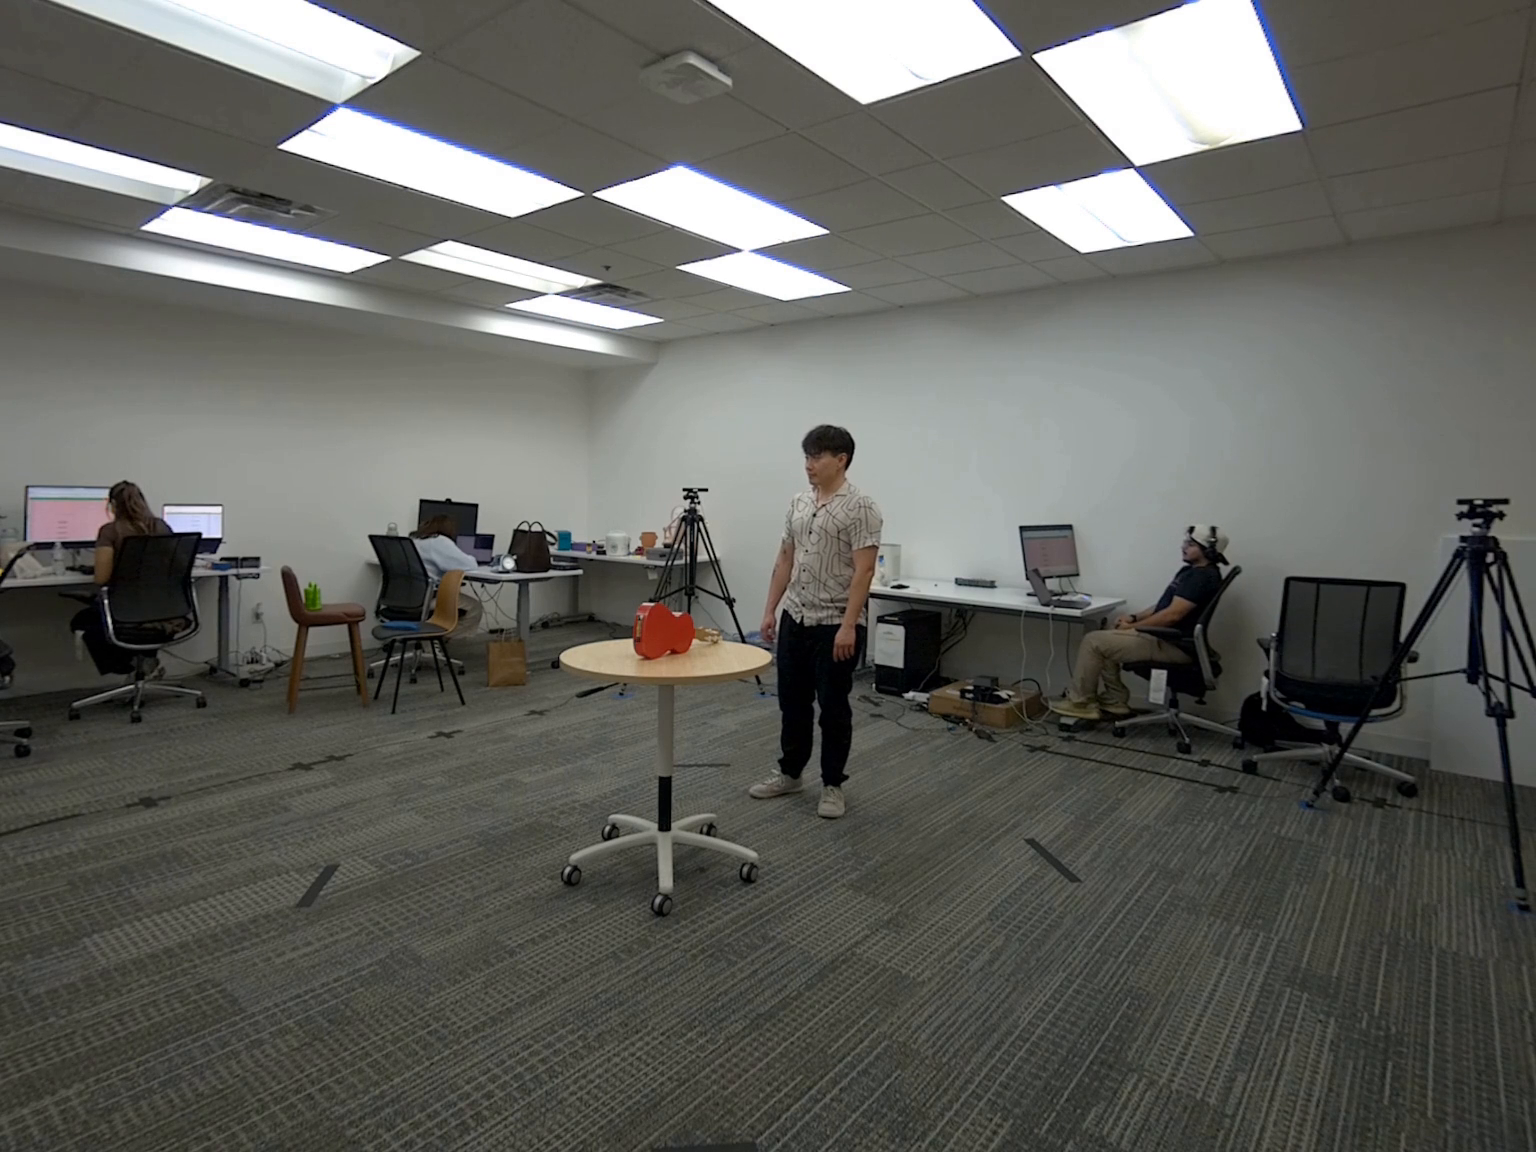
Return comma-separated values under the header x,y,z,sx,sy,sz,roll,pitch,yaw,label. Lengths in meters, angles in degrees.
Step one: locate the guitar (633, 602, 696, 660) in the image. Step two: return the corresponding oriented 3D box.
x,y,z,sx,sy,sz,roll,pitch,yaw,label
-0.329,0.184,3.173,0.073,0.193,0.483,1,3,35,guitar
